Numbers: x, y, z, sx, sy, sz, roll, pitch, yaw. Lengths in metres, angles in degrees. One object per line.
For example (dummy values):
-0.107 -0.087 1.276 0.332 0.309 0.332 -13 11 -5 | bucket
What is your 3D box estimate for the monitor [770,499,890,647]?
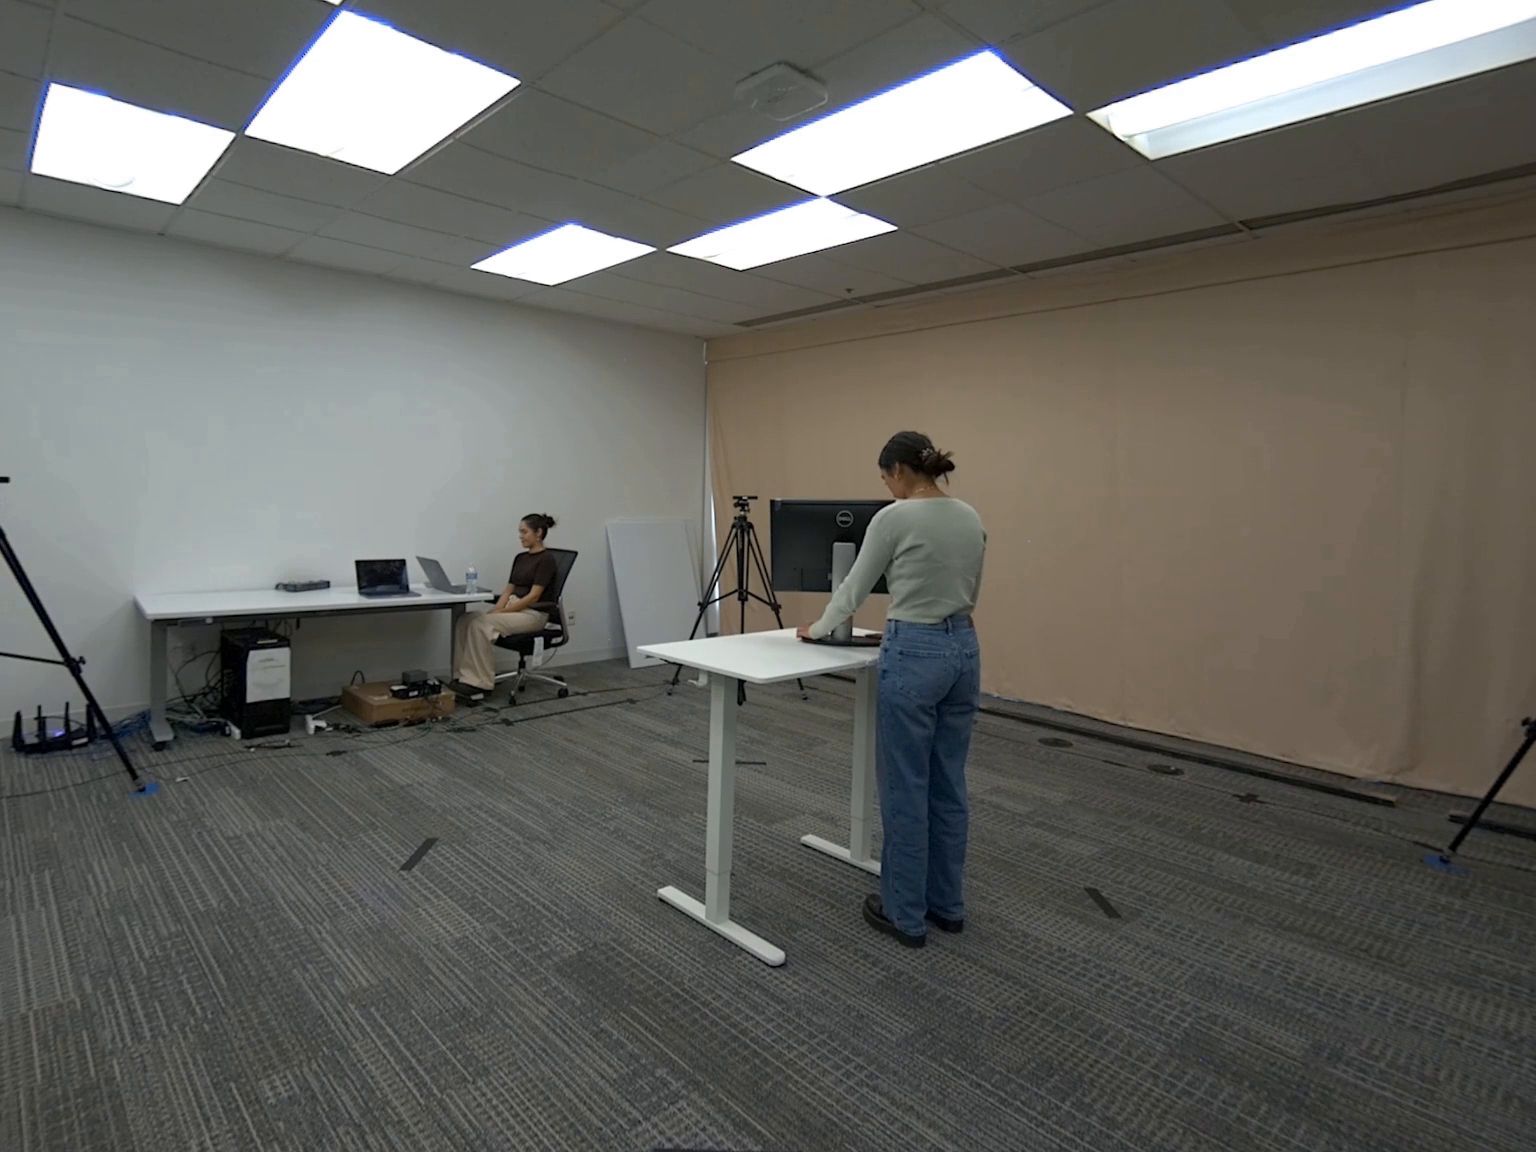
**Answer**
0.272 -0.016 3.006 0.533 0.516 0.173 2 0 8 | monitor
